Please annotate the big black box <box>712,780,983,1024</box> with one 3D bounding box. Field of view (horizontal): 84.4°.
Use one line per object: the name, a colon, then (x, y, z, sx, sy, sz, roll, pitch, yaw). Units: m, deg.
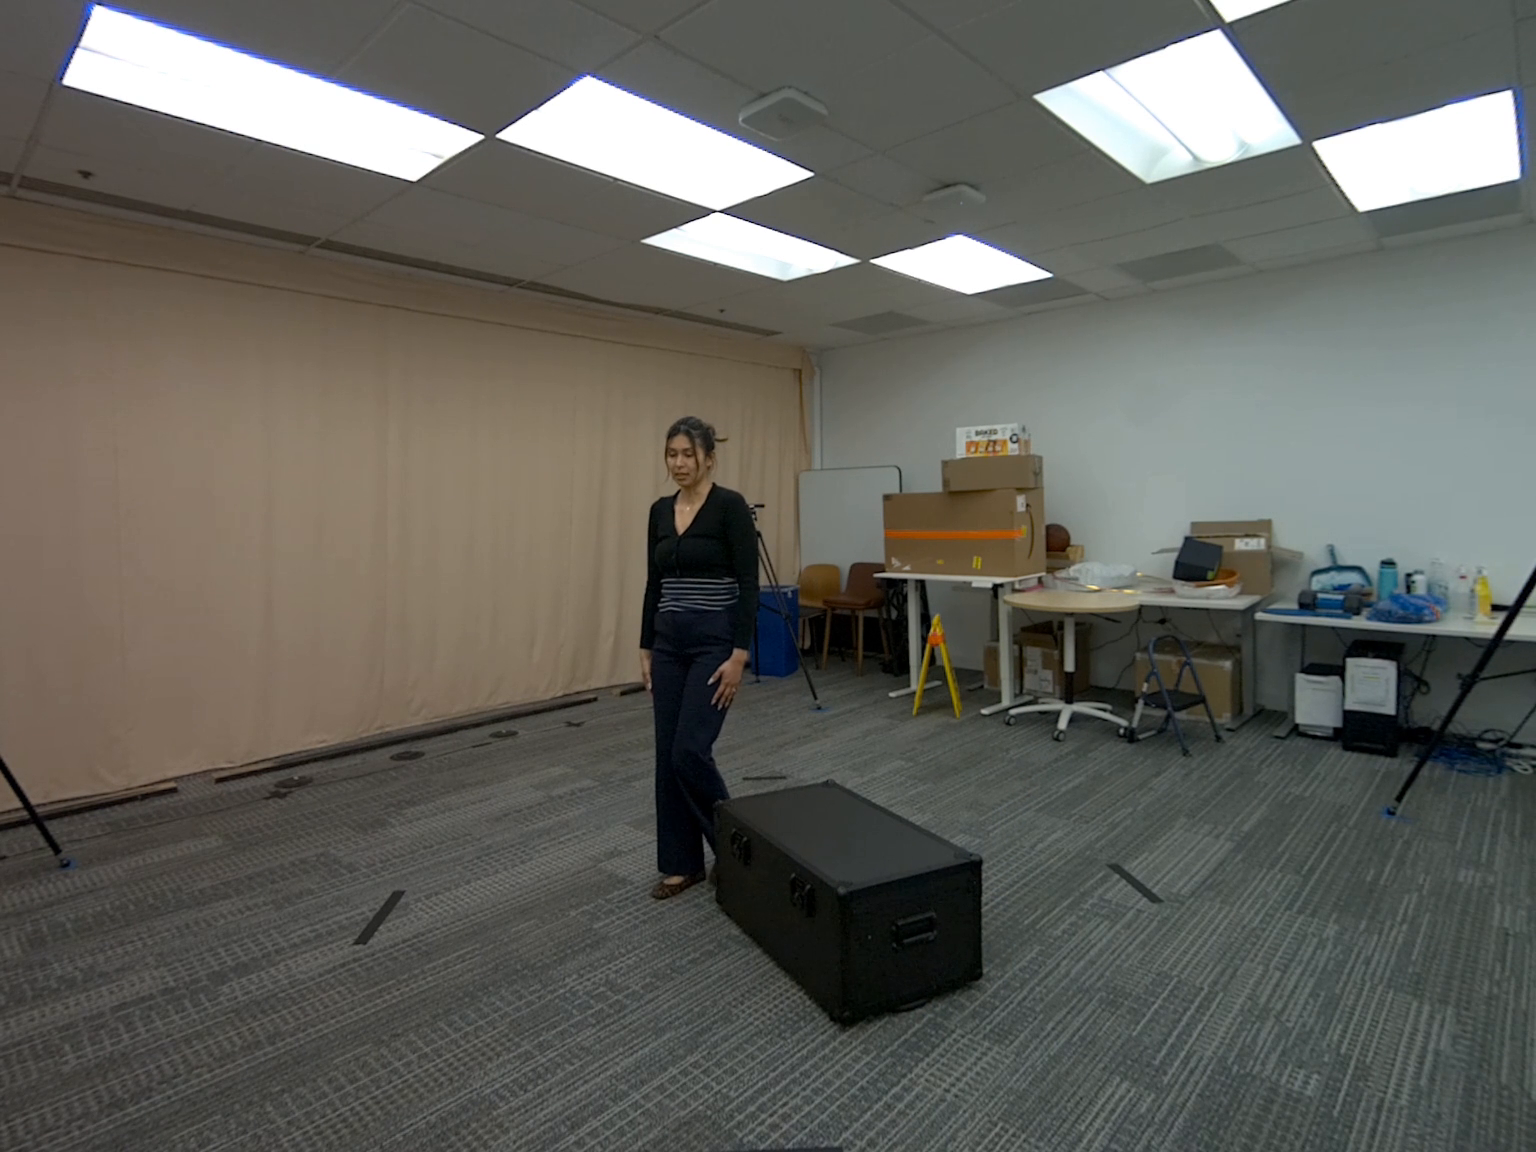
big black box: (0.234, 0.976, 2.624, 0.508, 0.395, 0.885, -4, 5, -27)
